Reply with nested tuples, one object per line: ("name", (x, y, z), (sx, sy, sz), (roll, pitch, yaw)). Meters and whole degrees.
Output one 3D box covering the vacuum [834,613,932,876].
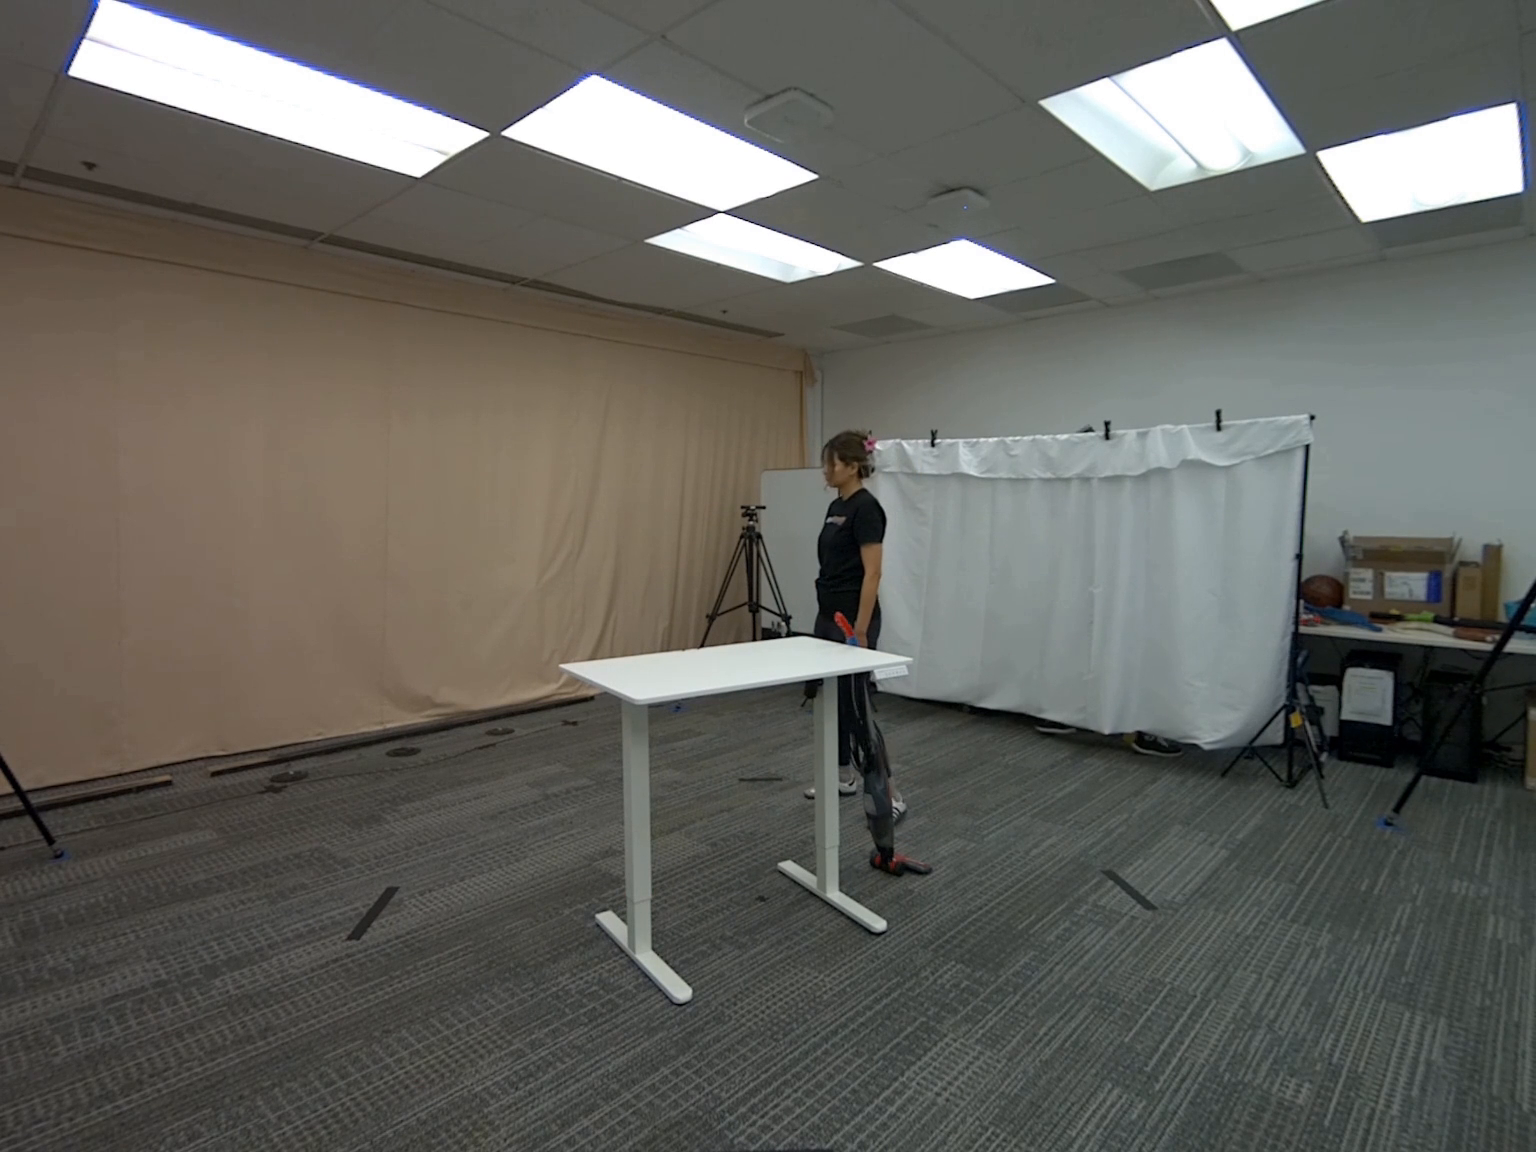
("vacuum", (0.374, 0.634, 3.114), (0.261, 1.036, 0.141), (0, 20, 43))
